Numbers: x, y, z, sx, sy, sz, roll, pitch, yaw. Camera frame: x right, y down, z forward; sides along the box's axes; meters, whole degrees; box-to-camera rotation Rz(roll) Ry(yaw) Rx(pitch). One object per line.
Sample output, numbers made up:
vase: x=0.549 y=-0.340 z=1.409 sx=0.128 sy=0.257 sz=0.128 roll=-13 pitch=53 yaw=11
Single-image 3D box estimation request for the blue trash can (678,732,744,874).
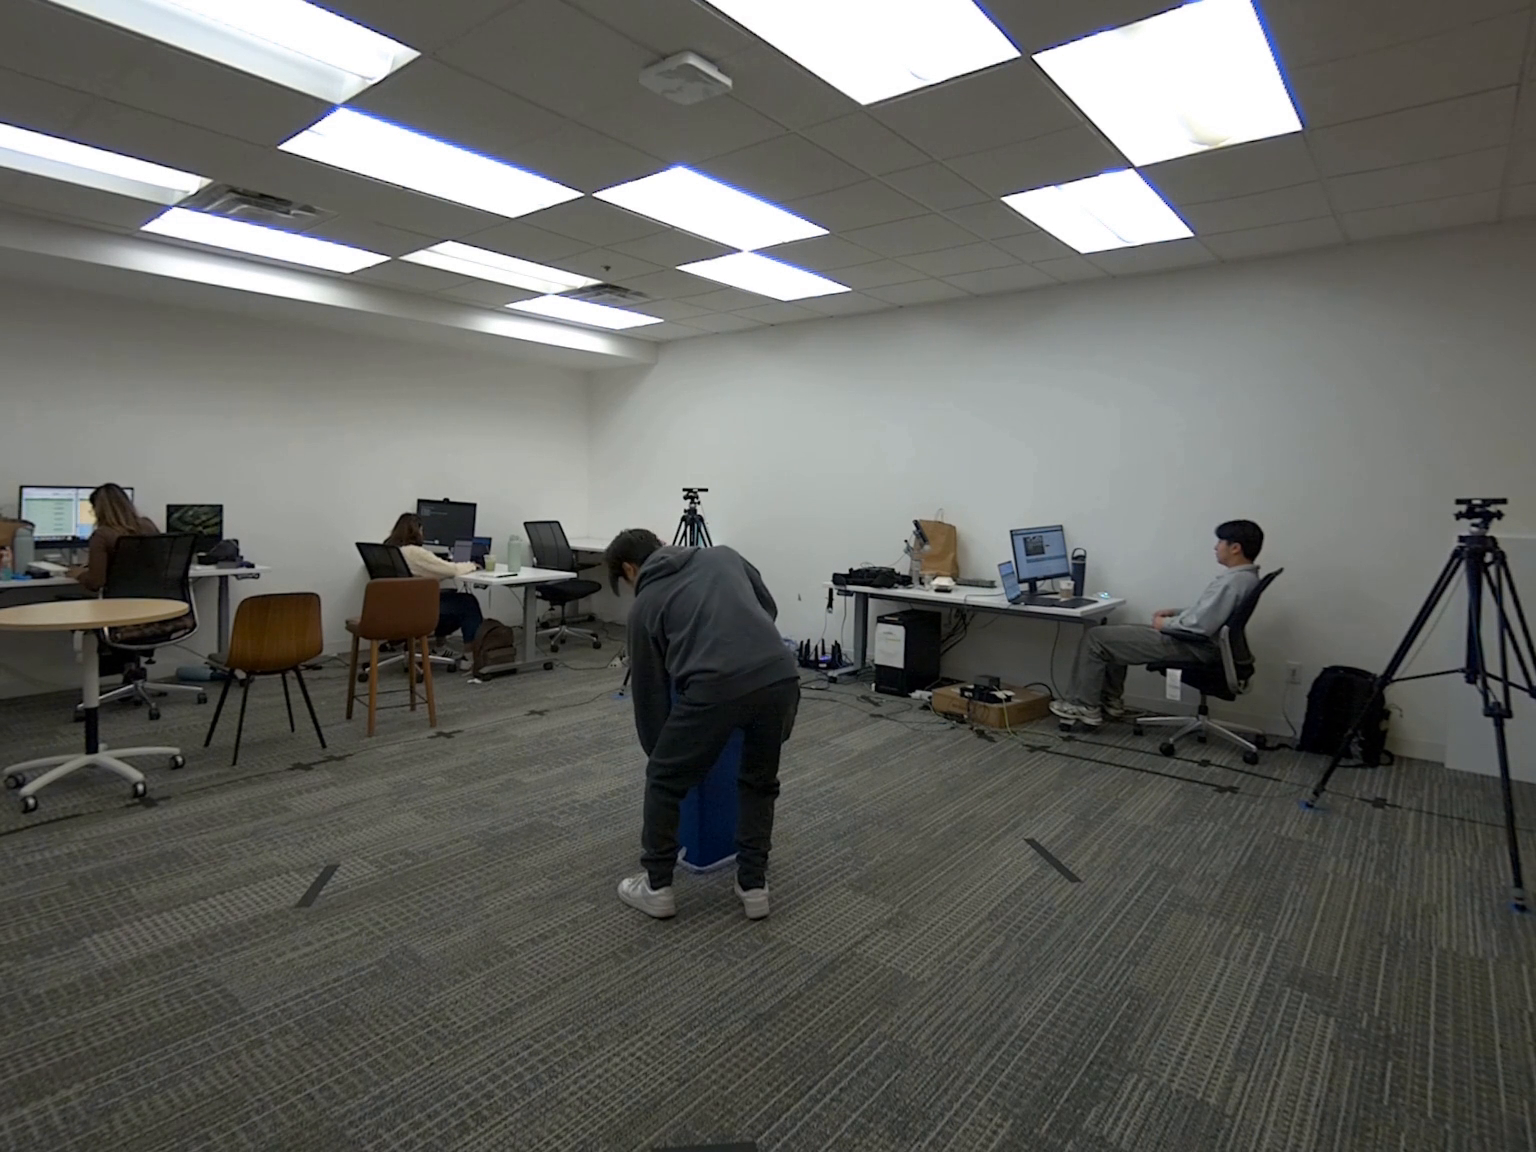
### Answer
blue trash can: x=-0.251 y=0.701 z=3.298 sx=0.362 sy=0.712 sz=0.391 roll=0 pitch=2 yaw=-45
